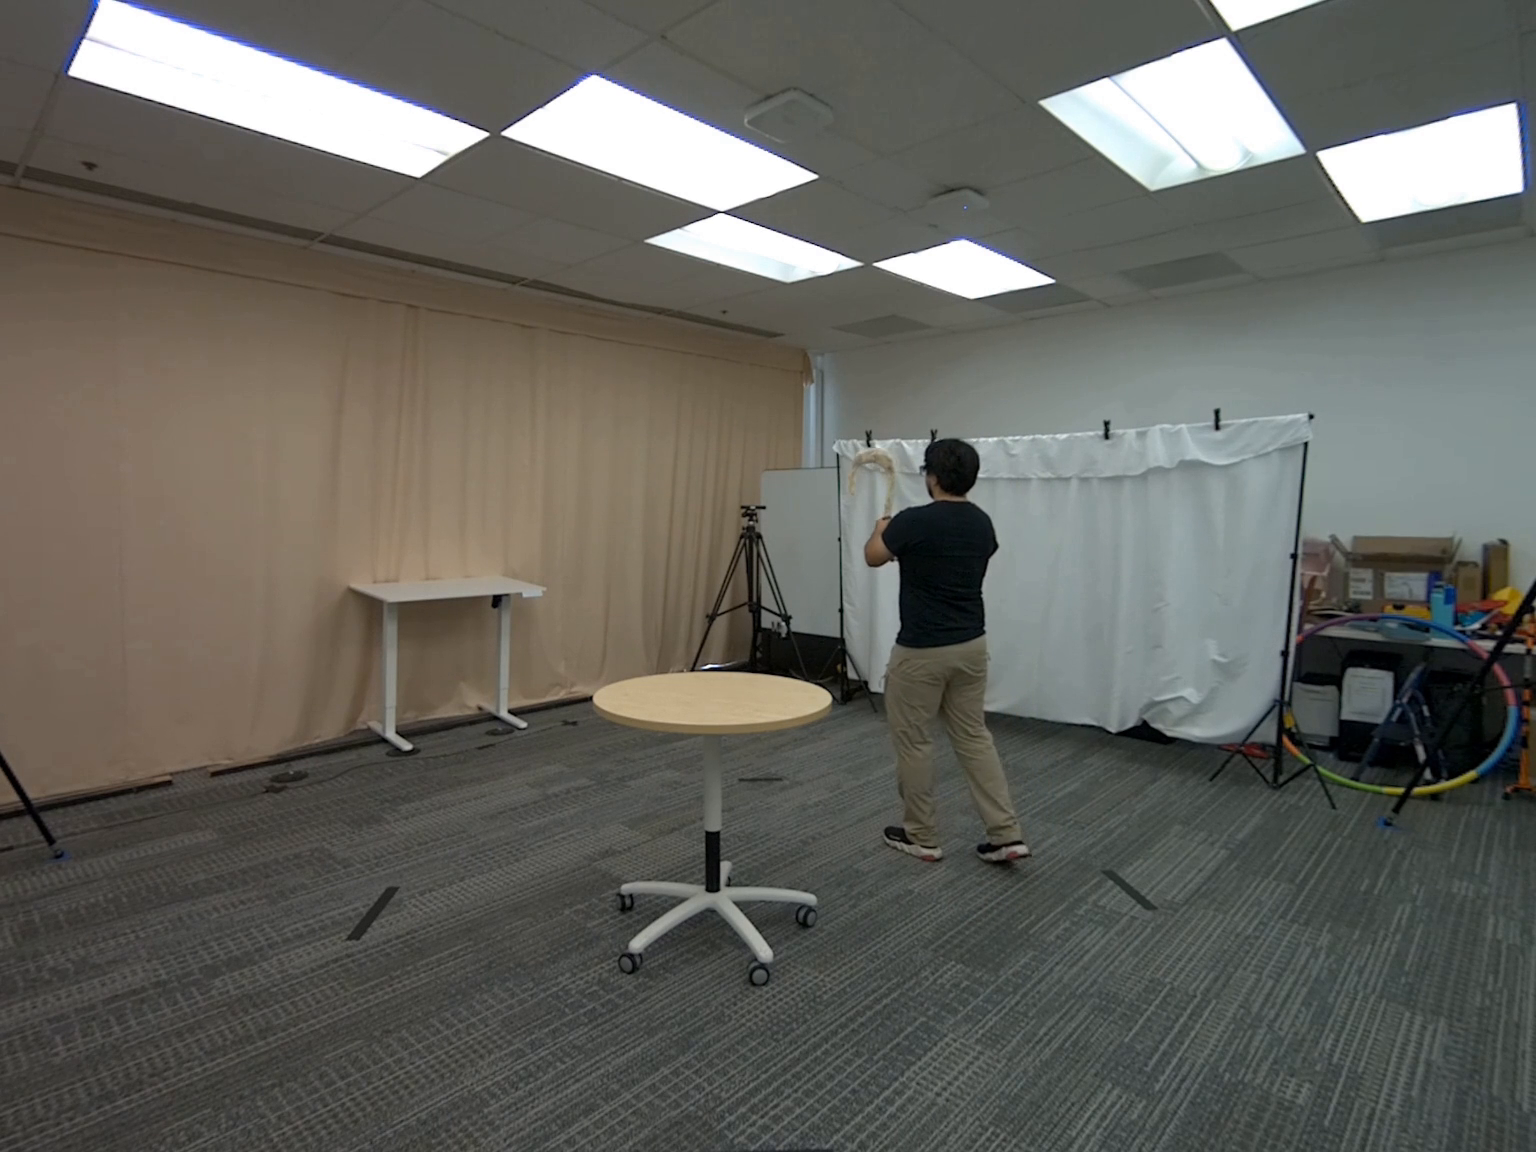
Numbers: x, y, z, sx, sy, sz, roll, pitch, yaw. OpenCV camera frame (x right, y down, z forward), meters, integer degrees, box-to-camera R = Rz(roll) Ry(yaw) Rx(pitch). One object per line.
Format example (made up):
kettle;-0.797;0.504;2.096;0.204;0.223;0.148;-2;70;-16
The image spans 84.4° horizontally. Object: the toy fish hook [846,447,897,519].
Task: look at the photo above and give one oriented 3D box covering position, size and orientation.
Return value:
toy fish hook;0.485;-0.309;3.719;0.229;0.507;0.047;-8;-3;24
